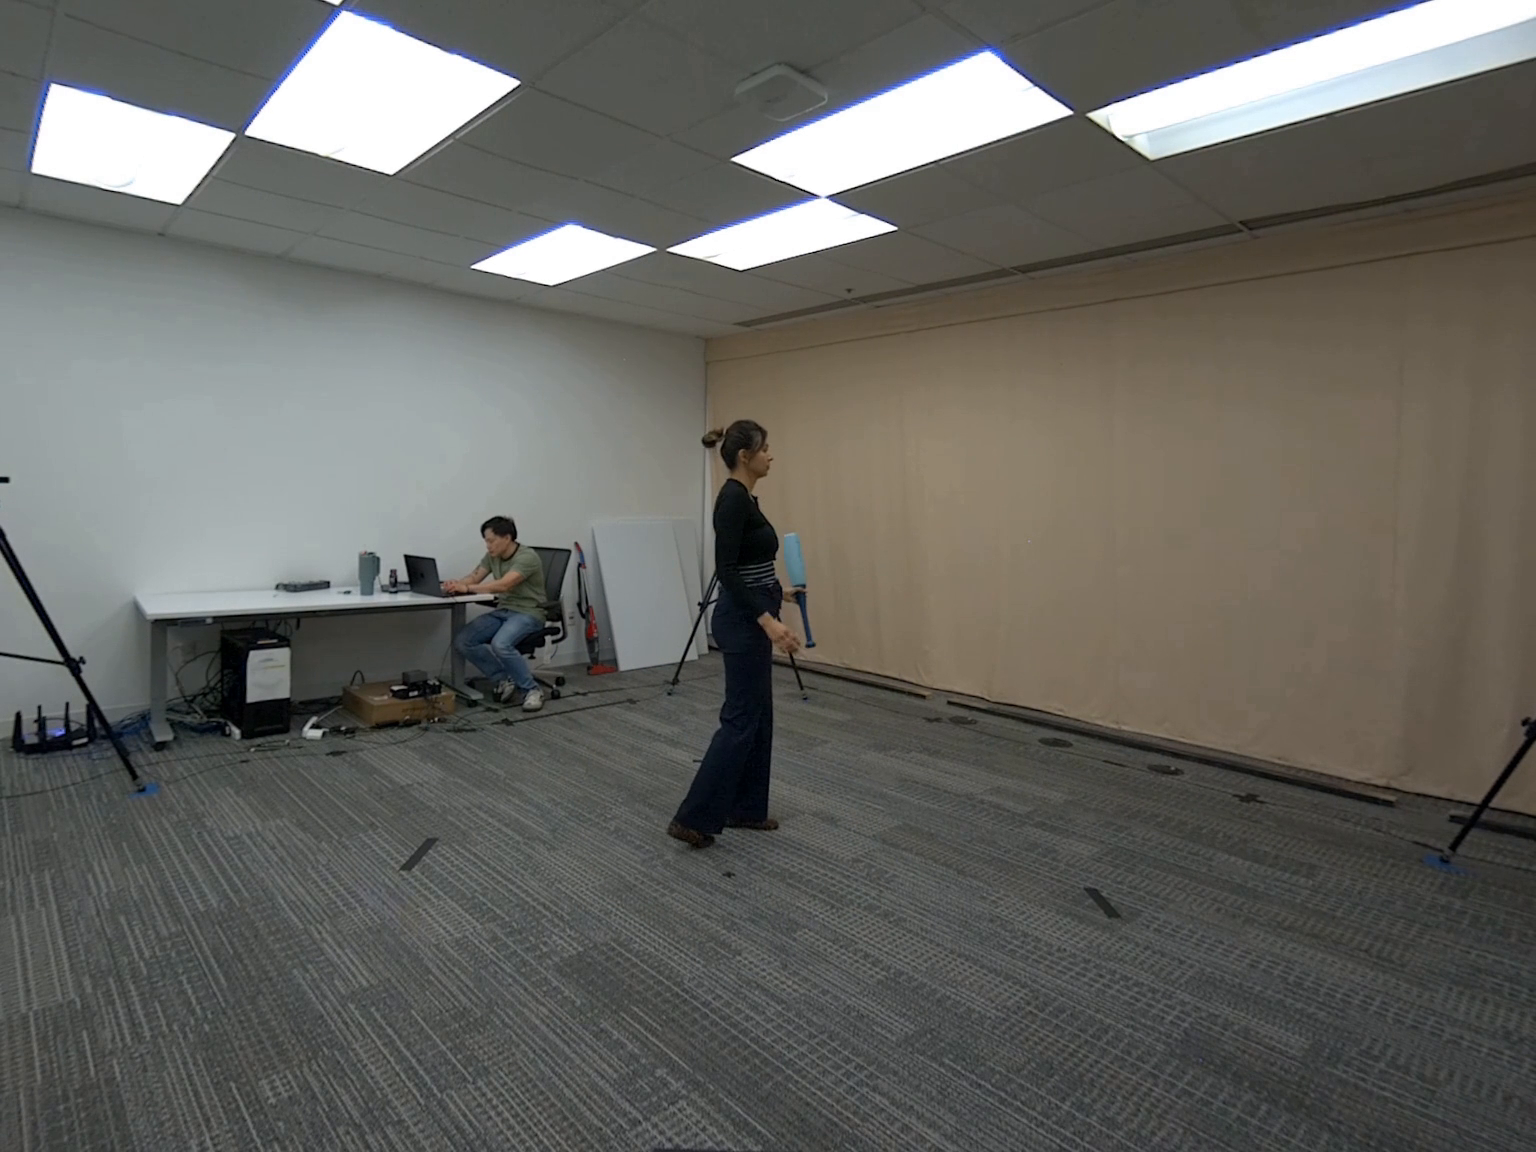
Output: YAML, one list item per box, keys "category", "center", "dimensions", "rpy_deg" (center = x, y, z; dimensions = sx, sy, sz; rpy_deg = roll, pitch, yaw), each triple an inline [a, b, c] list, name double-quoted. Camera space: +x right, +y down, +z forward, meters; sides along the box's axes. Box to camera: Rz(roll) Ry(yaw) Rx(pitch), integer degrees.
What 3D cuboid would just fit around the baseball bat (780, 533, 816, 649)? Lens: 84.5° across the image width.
- category: "baseball bat"
  center: [0.141, 0.056, 3.919]
  dimensions: [0.089, 0.549, 0.088]
  rpy_deg: [-7, -14, -3]
